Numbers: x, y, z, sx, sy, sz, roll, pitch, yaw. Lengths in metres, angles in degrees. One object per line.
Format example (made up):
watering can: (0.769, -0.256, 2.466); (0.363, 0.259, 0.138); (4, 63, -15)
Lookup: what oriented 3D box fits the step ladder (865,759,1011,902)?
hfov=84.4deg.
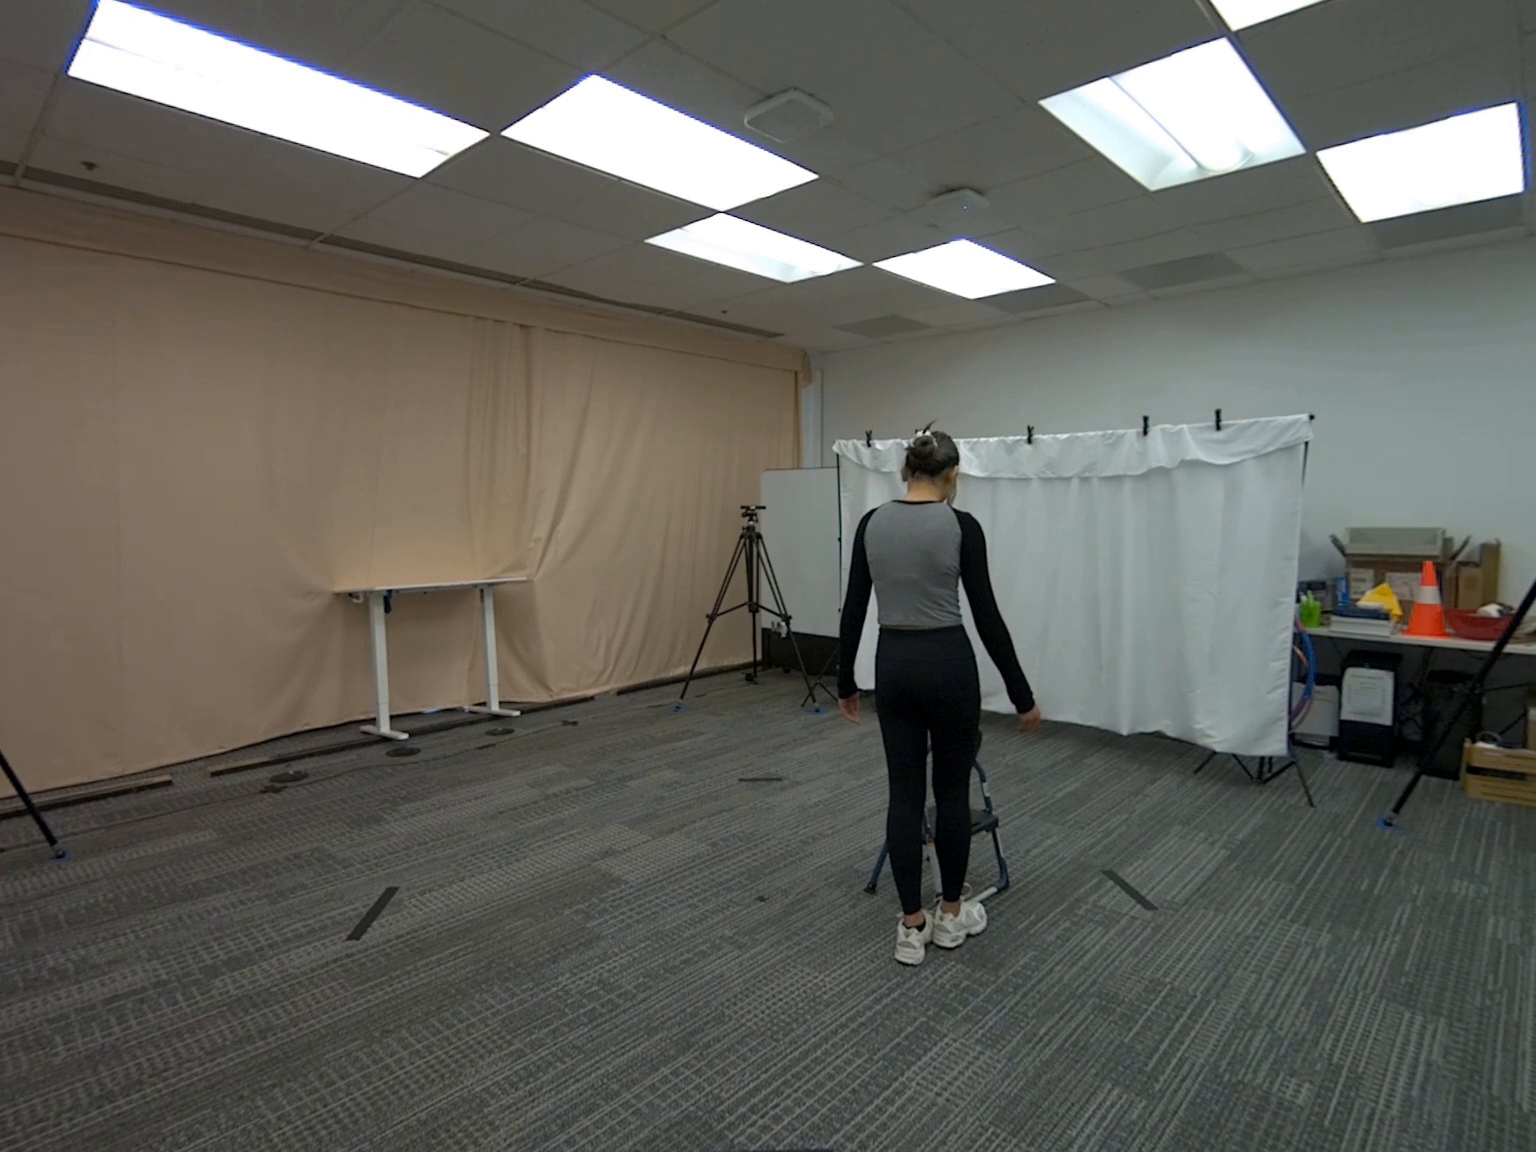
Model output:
step ladder: (0.622, 0.835, 3.040); (0.417, 0.605, 0.361); (-4, 5, -45)
